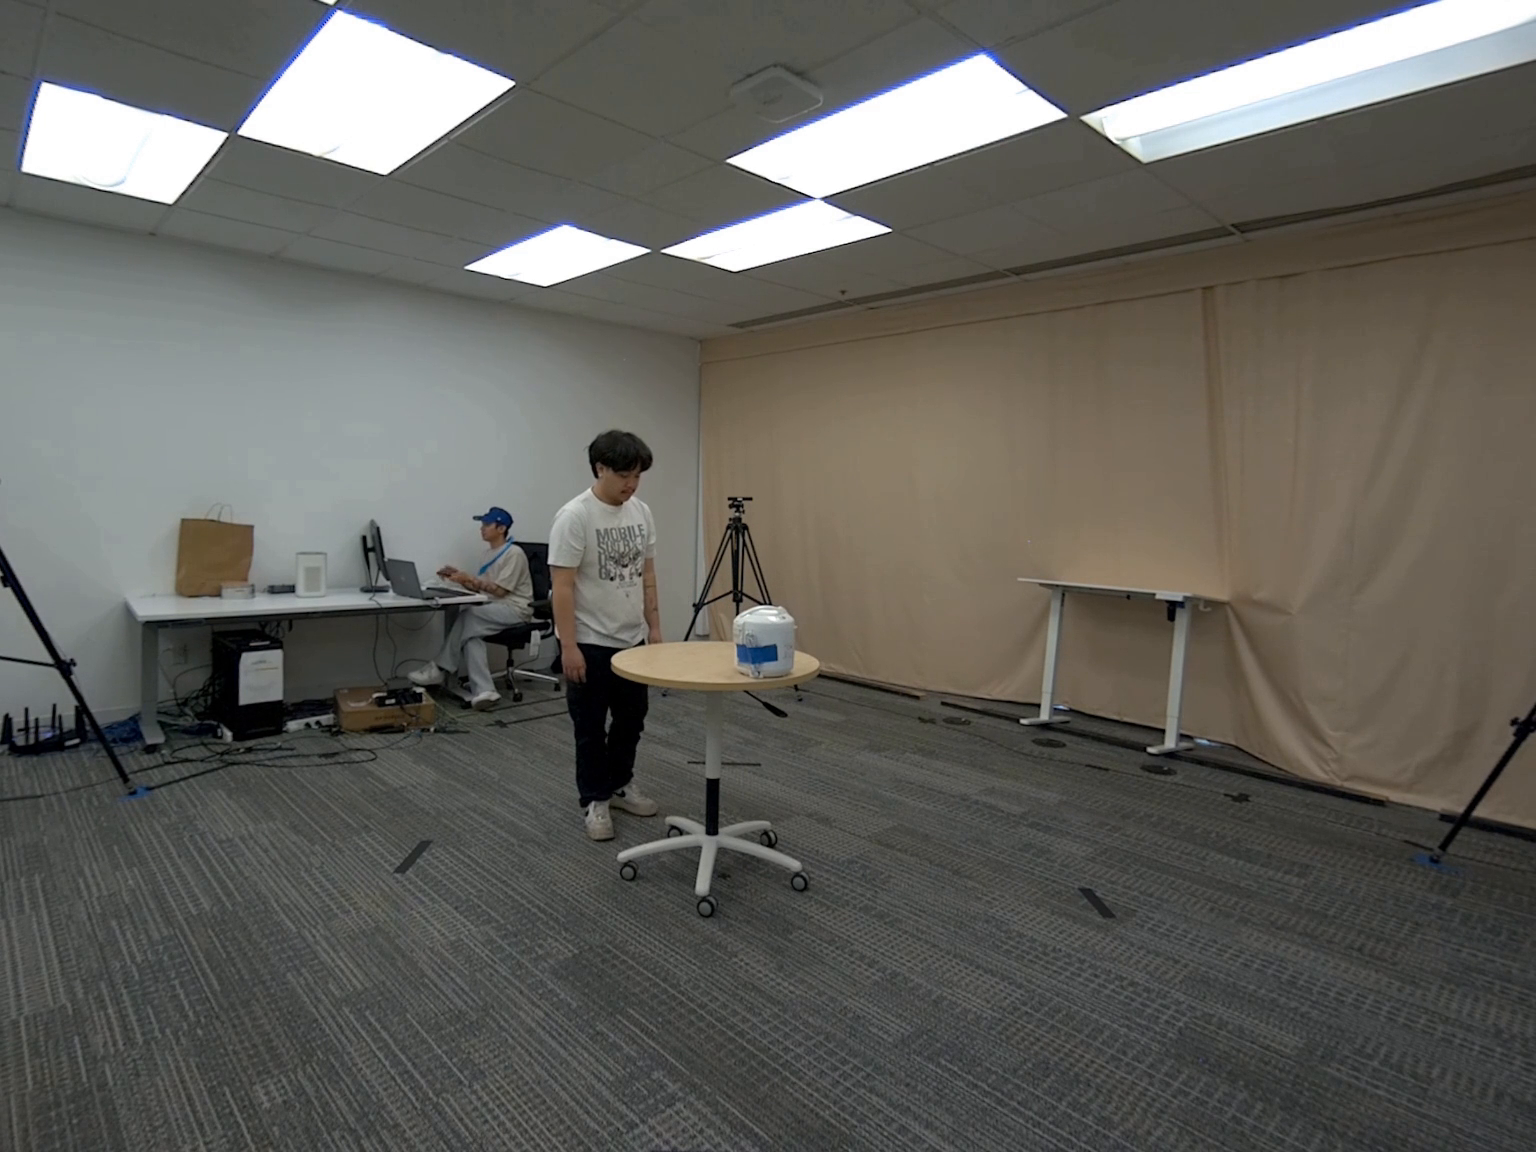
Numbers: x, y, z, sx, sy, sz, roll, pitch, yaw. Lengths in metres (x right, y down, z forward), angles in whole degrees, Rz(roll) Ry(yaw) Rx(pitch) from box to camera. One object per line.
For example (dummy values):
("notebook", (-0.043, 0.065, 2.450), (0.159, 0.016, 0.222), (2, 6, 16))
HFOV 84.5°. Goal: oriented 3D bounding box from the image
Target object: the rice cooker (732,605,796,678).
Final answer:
("rice cooker", (-0.021, 0.218, 2.888), (0.217, 0.232, 0.222), (0, 7, -25))
